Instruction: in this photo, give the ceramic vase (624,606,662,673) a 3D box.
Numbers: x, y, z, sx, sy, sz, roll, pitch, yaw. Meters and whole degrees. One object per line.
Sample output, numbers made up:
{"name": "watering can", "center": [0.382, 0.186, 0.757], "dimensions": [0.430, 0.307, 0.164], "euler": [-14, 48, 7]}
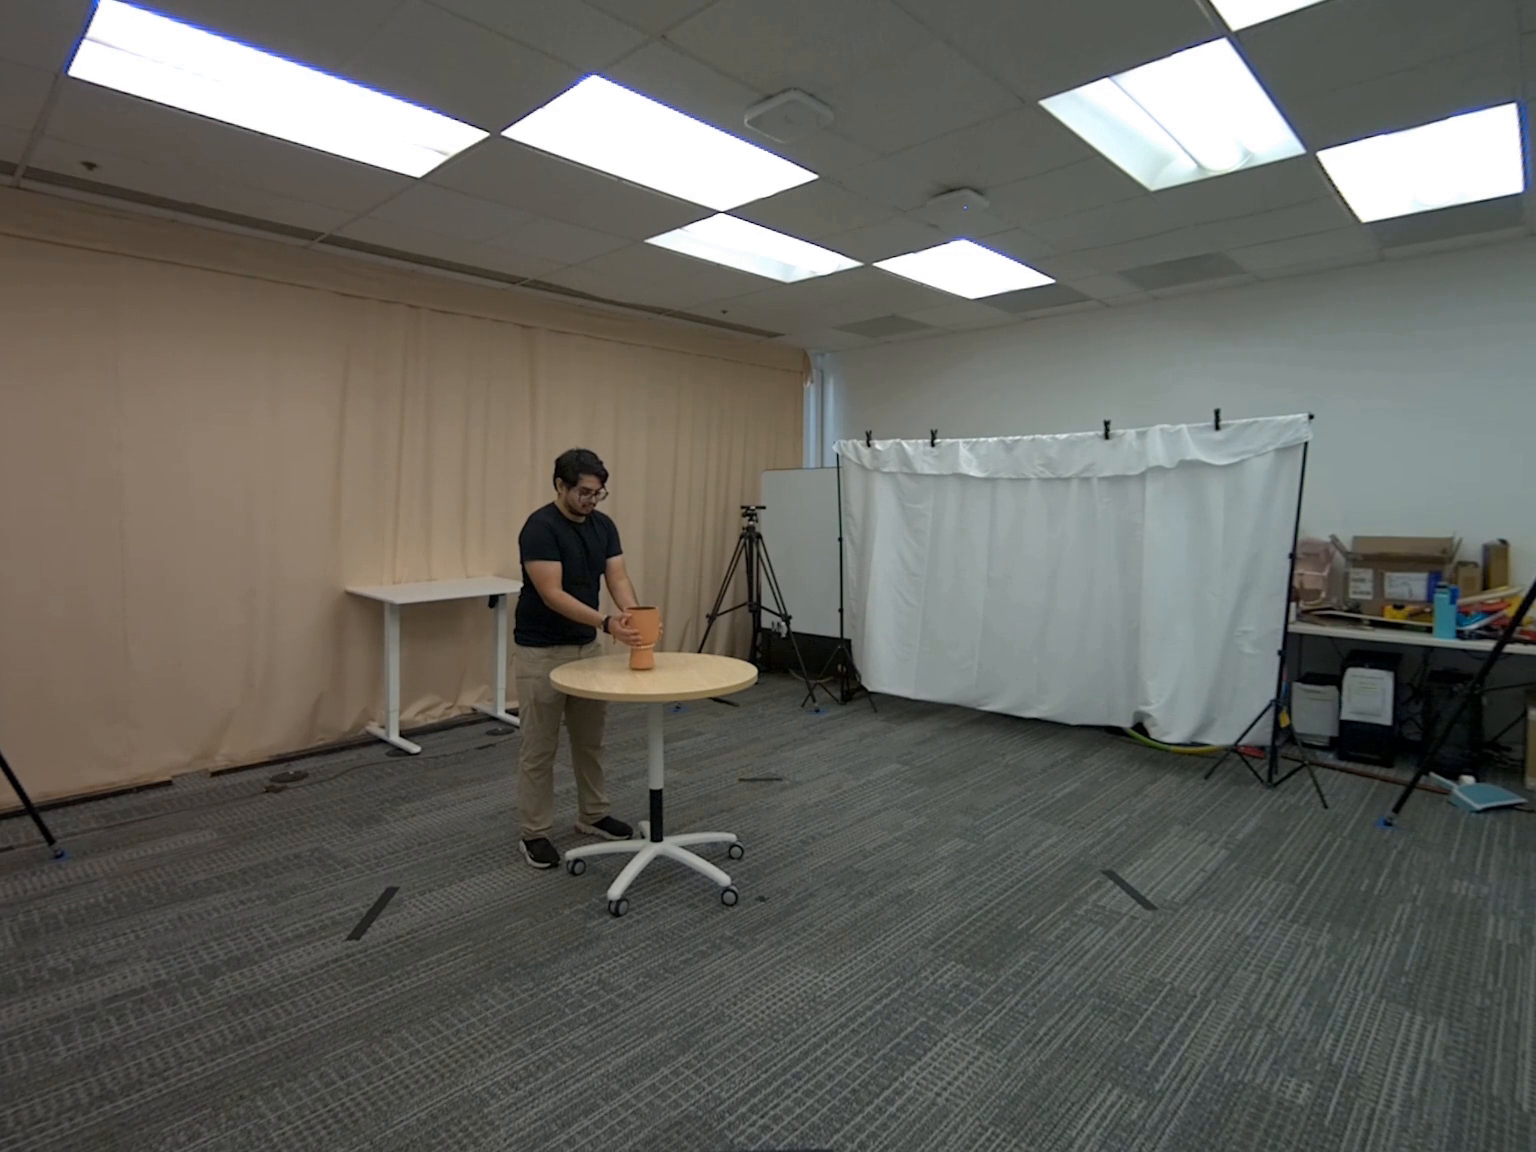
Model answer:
{"name": "ceramic vase", "center": [-0.479, 0.234, 3.155], "dimensions": [0.156, 0.219, 0.137], "euler": [-3, 2, -16]}
